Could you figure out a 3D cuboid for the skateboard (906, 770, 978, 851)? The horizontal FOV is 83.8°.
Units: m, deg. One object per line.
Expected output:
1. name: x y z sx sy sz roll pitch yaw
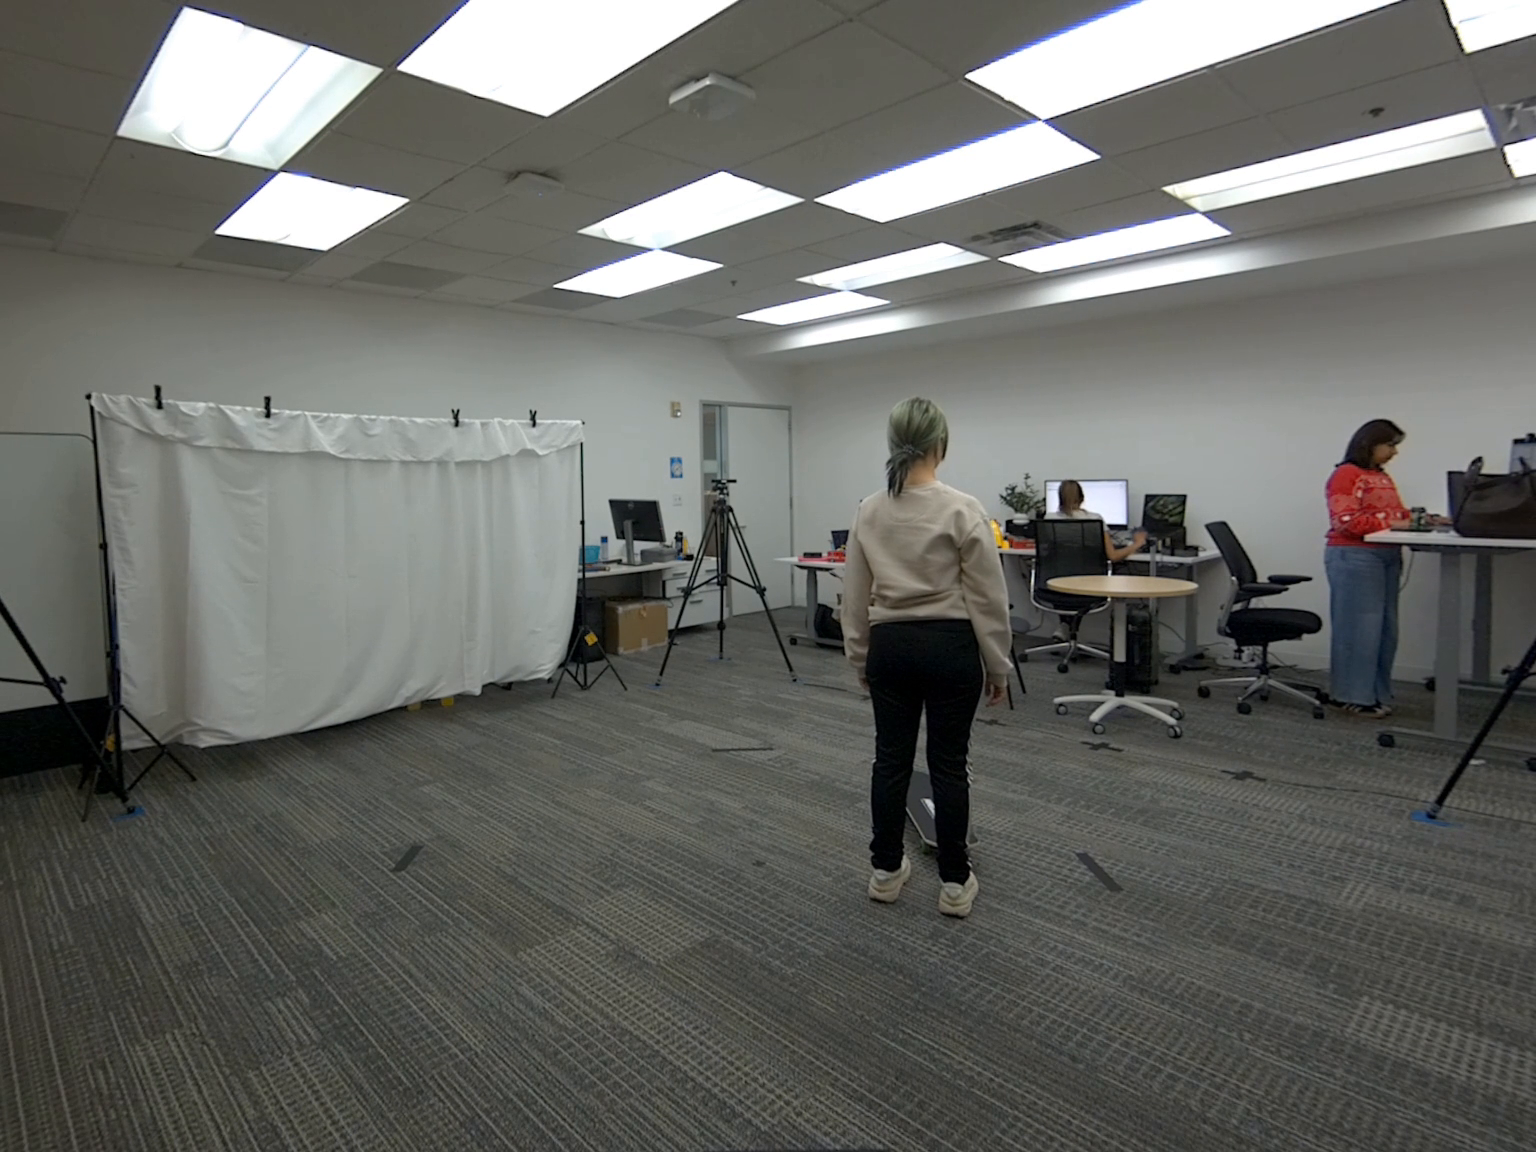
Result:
1. skateboard: 0.645 0.945 3.371 0.193 0.110 0.790 -2 7 -3
